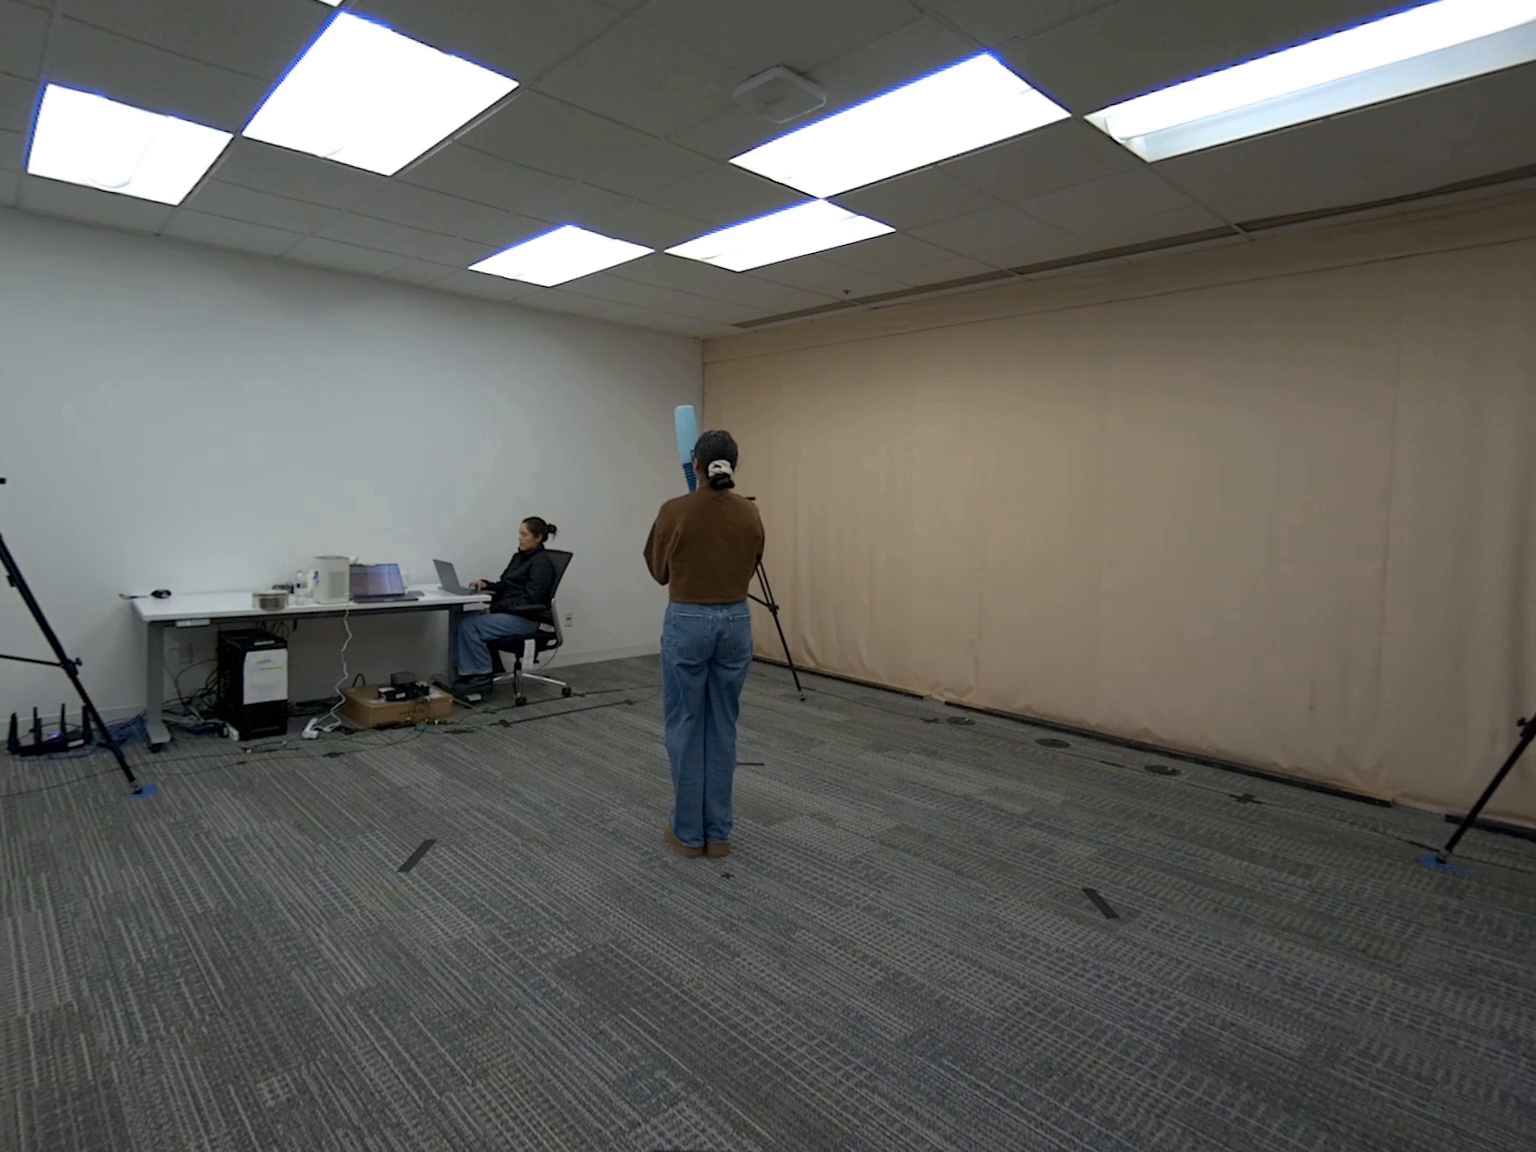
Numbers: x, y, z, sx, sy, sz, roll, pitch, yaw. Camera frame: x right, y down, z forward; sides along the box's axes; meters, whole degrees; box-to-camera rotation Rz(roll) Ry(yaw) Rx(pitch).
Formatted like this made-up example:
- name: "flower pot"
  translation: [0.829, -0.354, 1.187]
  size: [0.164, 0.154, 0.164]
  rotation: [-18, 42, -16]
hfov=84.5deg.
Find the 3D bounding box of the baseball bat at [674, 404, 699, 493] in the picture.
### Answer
- name: "baseball bat"
  translation: [-0.338, -0.446, 3.560]
  size: [0.089, 0.546, 0.088]
  rotation: [-5, -8, -2]
